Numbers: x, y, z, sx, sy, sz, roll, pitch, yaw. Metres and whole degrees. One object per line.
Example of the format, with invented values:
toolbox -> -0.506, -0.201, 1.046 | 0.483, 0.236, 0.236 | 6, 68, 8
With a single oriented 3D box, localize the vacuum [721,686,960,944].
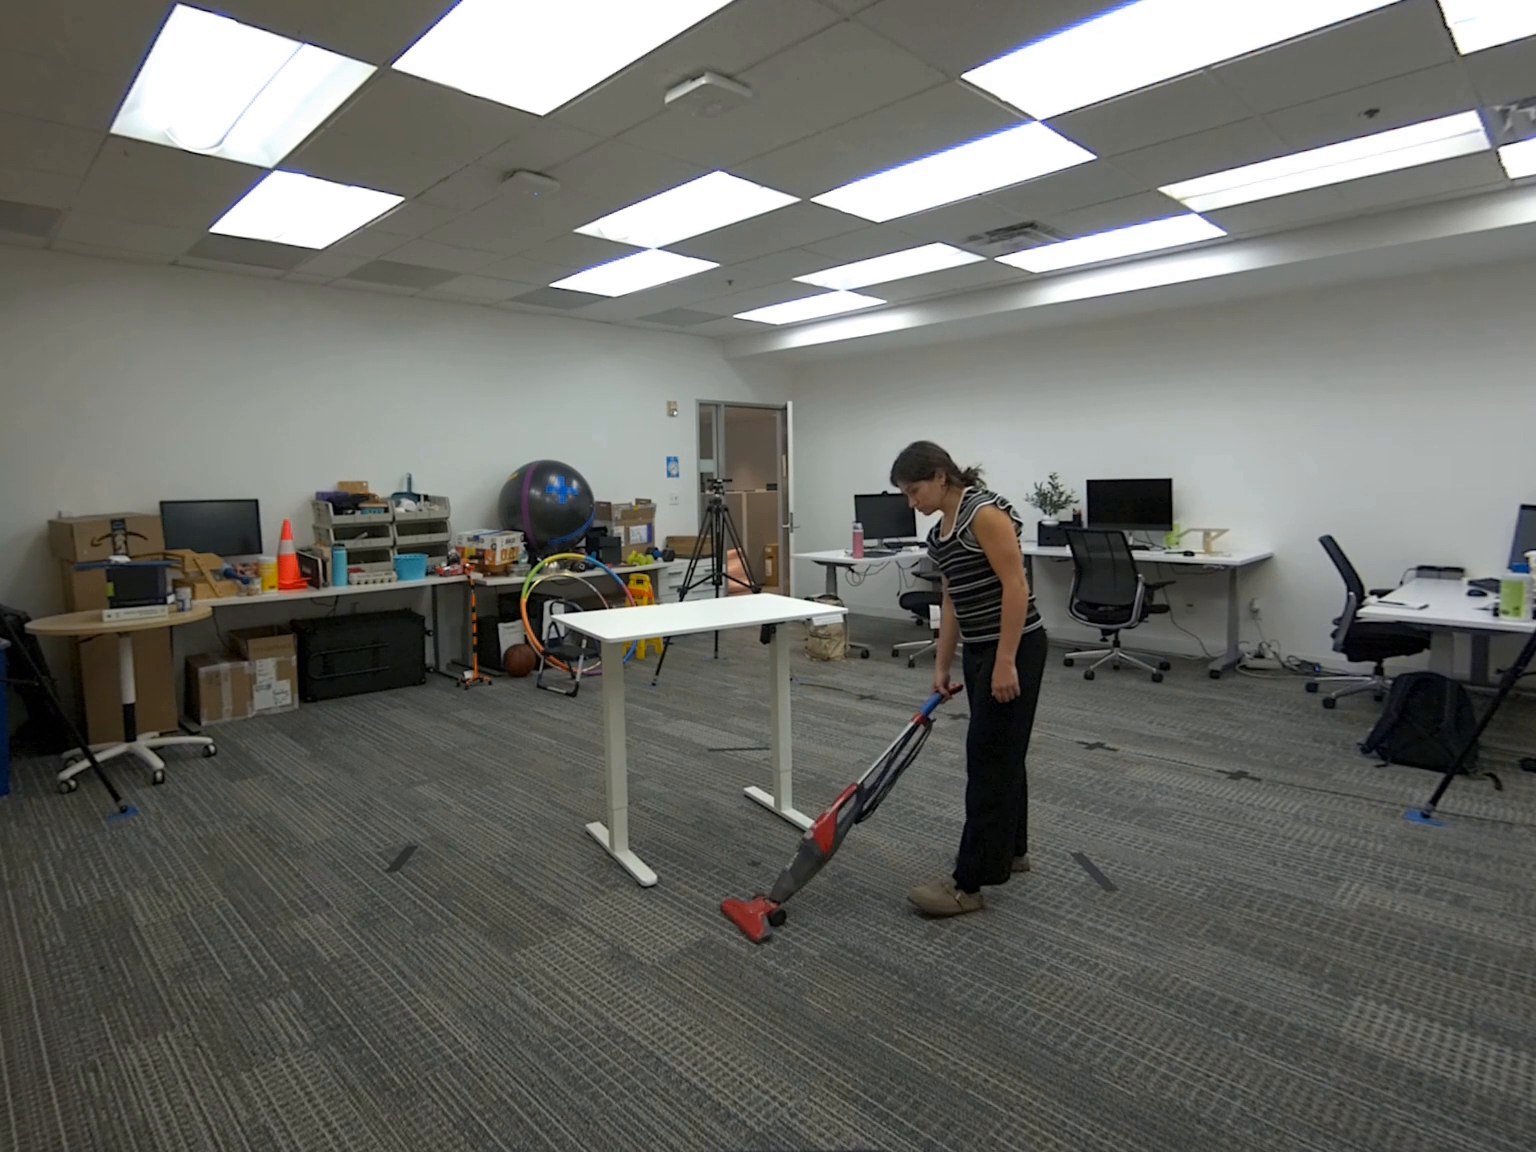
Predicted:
vacuum -> 0.319, 0.759, 2.852 | 1.046, 0.140, 0.260 | -40, 23, -17
